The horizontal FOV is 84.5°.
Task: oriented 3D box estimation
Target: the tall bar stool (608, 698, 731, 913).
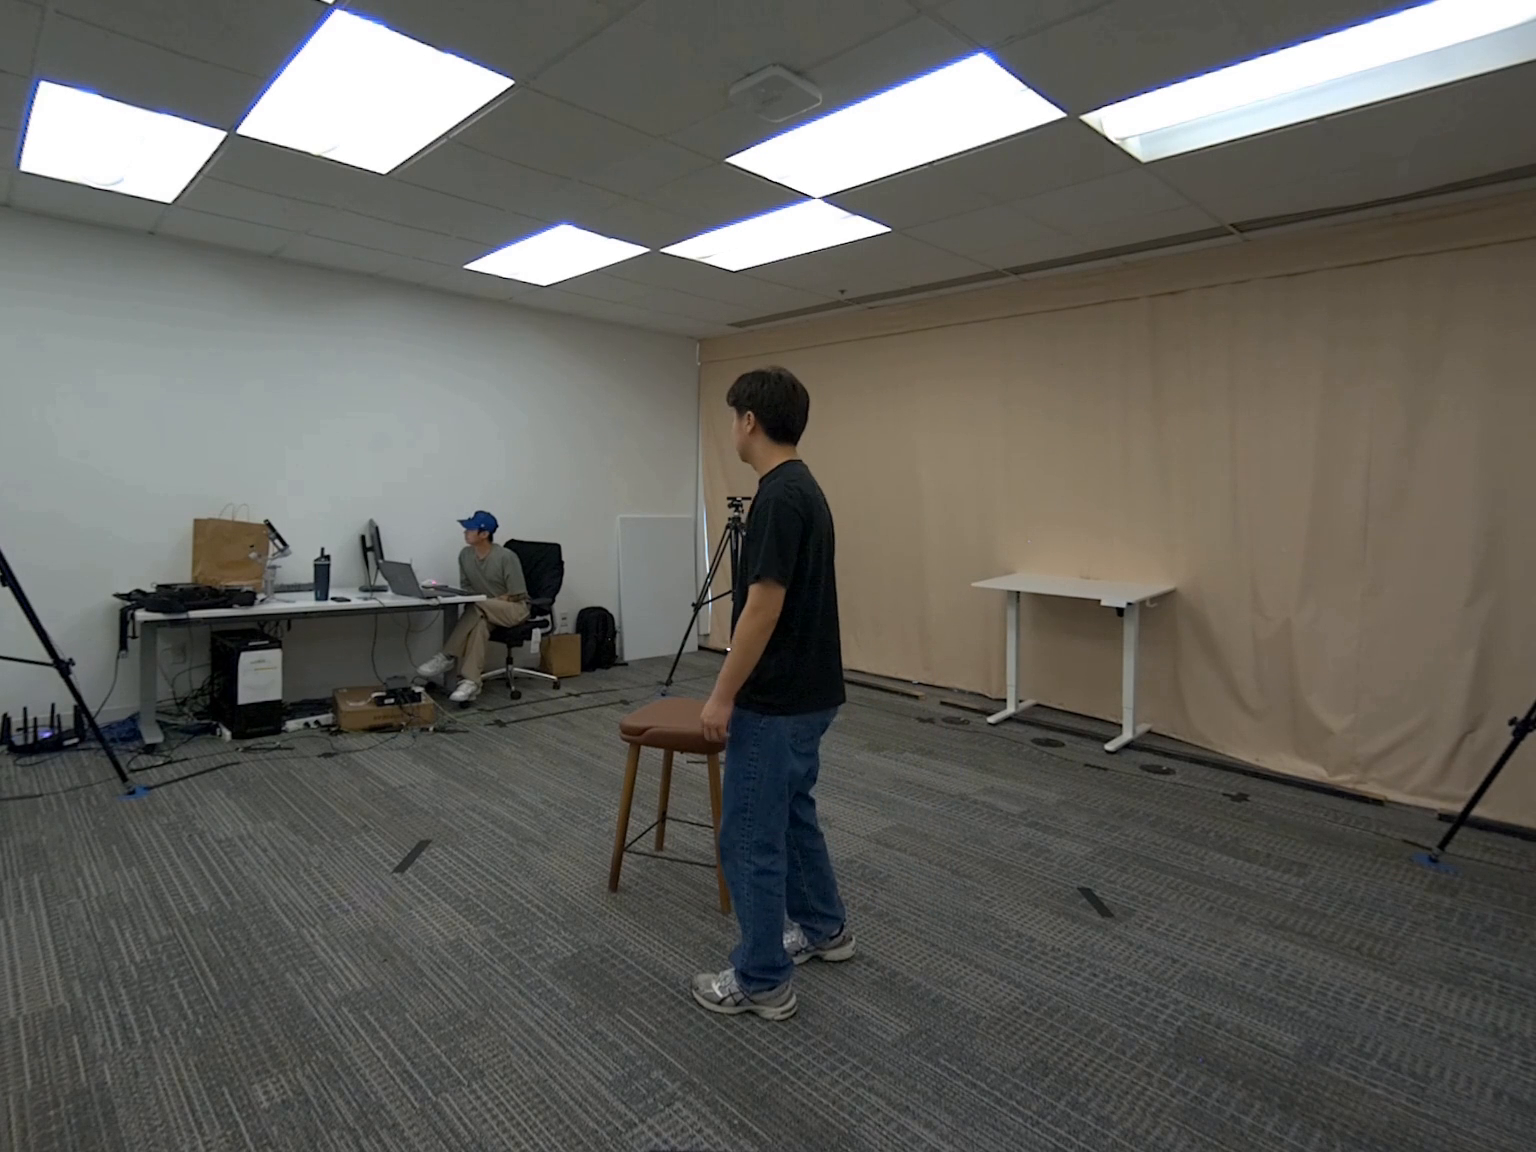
[{"bbox_3d":[-0.274,0.678,3.039,0.476,0.887,0.450,4,4,21],"label":"tall bar stool"}]
